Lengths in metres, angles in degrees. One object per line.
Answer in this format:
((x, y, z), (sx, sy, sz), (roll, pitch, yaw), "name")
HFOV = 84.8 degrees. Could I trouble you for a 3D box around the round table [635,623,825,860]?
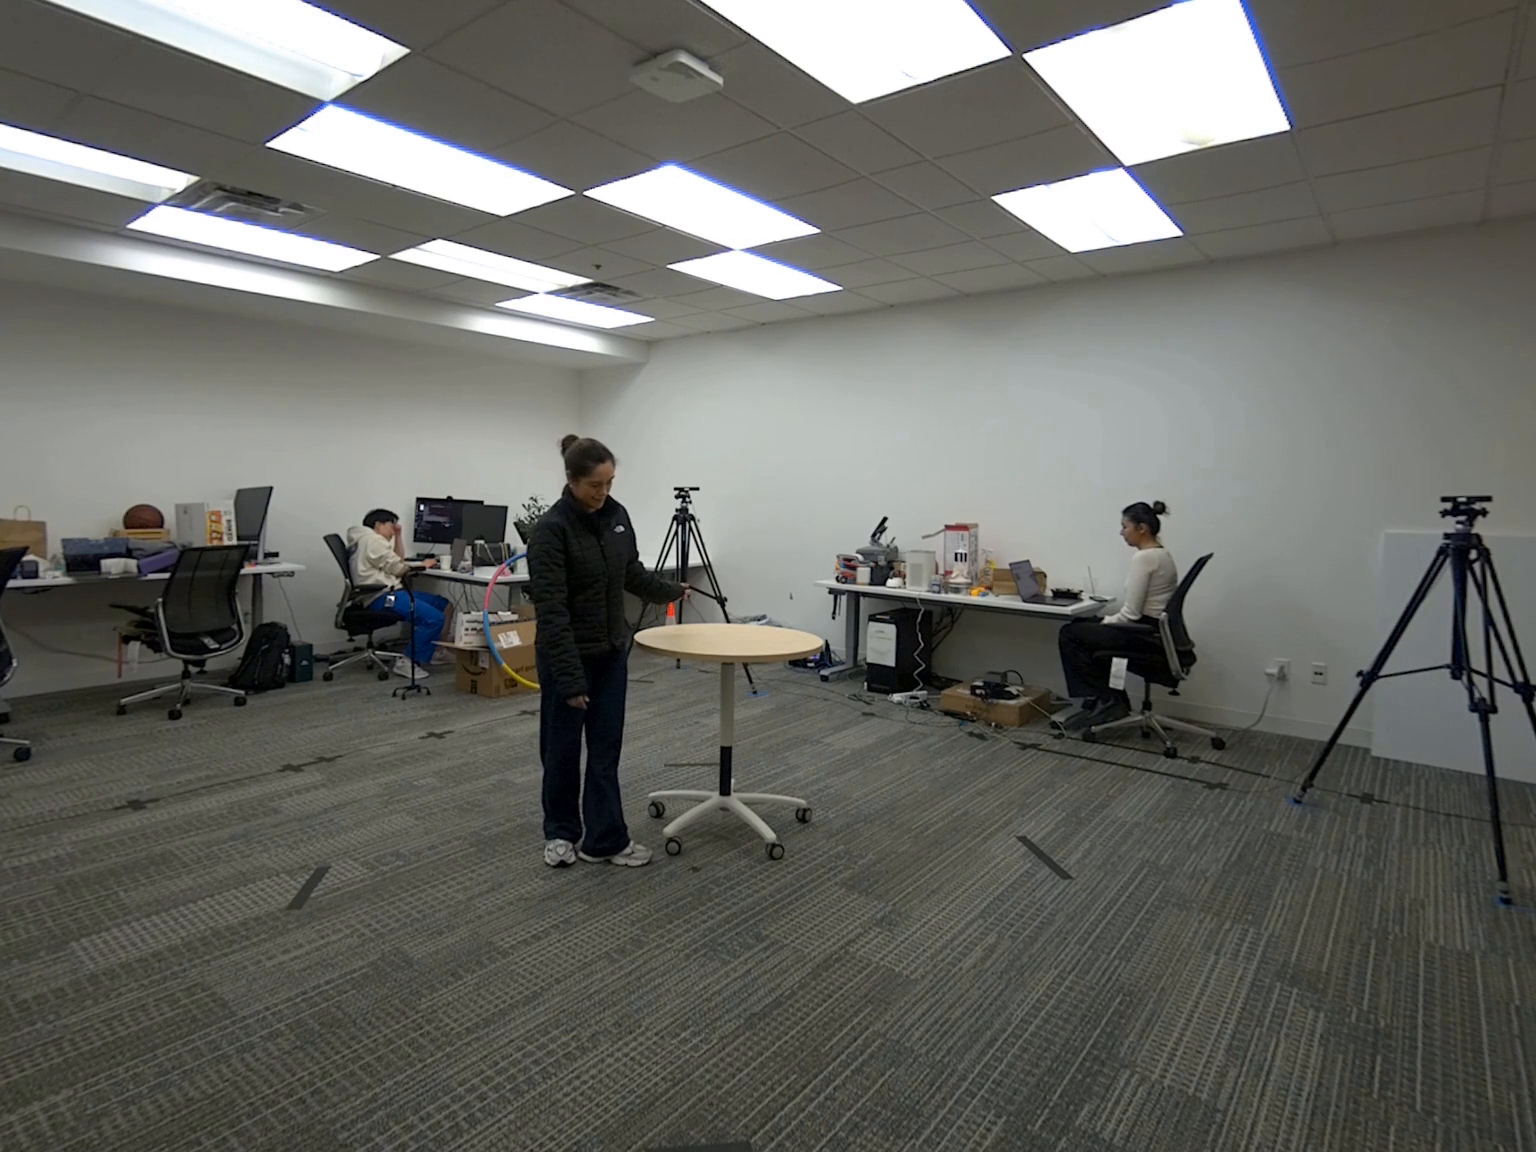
((-0.162, 0.637, 3.471), (0.784, 0.785, 0.788), (1, 3, -2), "round table")
